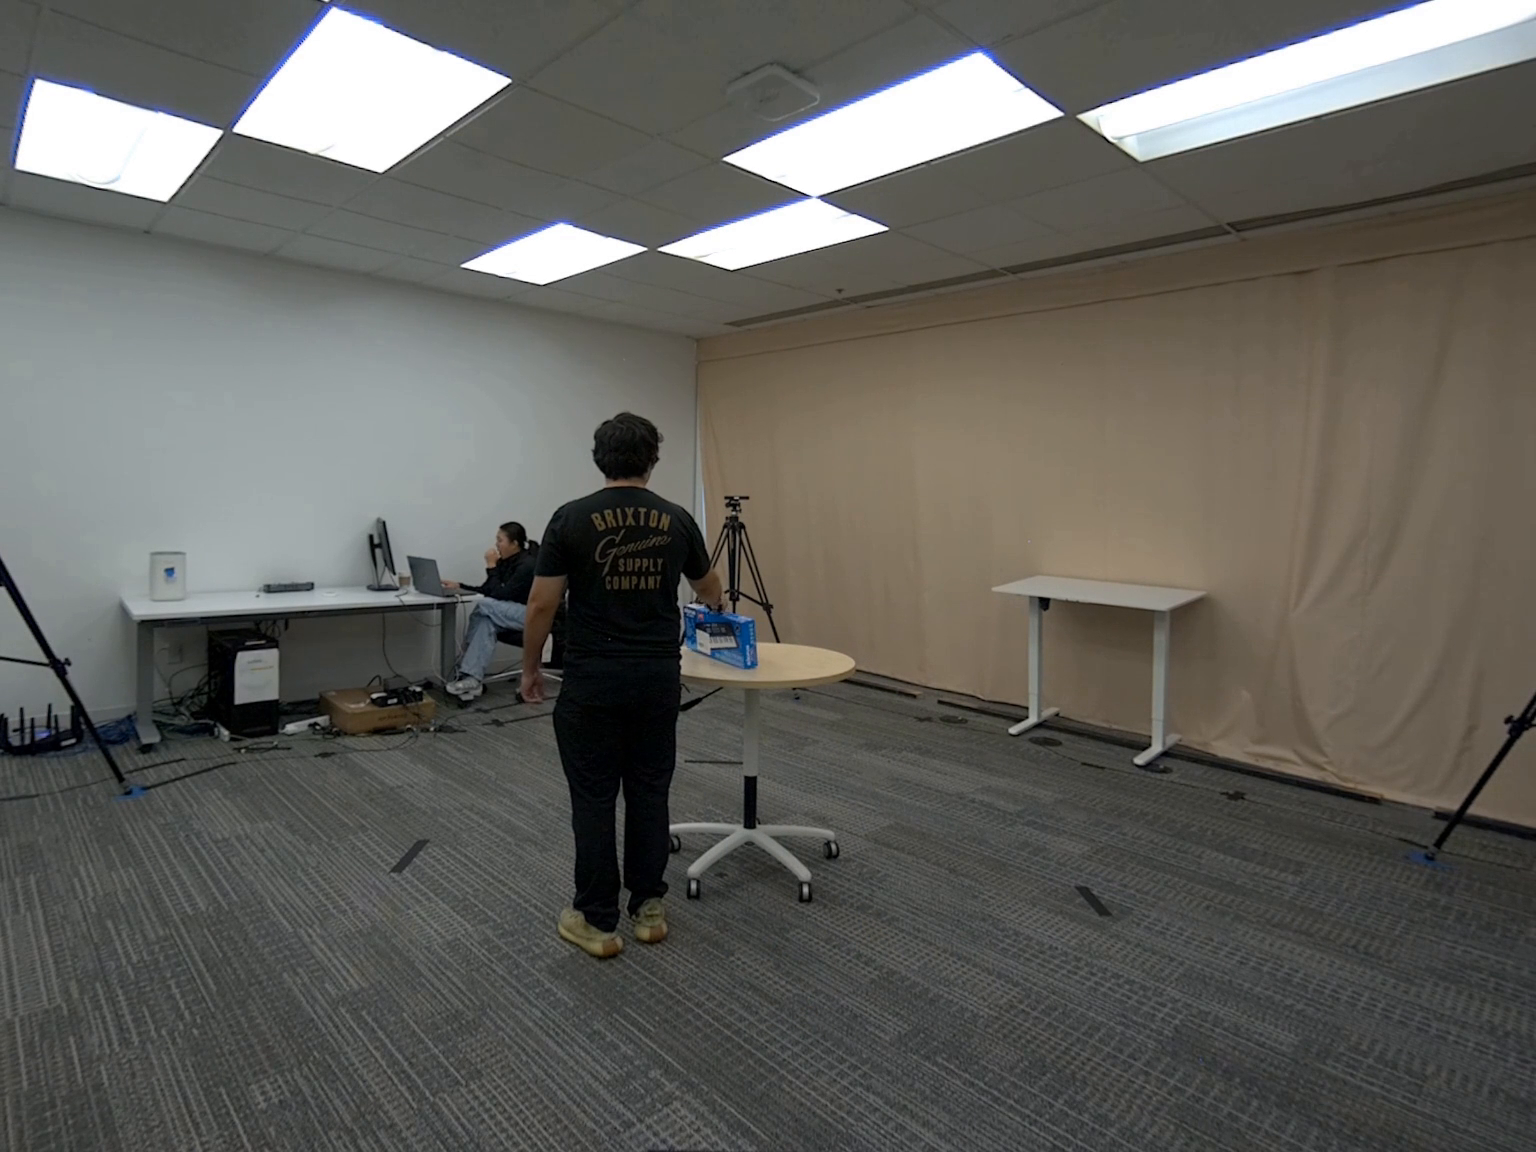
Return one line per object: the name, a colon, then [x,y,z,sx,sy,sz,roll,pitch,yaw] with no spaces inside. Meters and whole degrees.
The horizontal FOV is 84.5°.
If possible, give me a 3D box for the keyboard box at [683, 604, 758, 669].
keyboard box: [-0.198,0.217,3.171,0.058,0.175,0.448,-6,10,-32]
